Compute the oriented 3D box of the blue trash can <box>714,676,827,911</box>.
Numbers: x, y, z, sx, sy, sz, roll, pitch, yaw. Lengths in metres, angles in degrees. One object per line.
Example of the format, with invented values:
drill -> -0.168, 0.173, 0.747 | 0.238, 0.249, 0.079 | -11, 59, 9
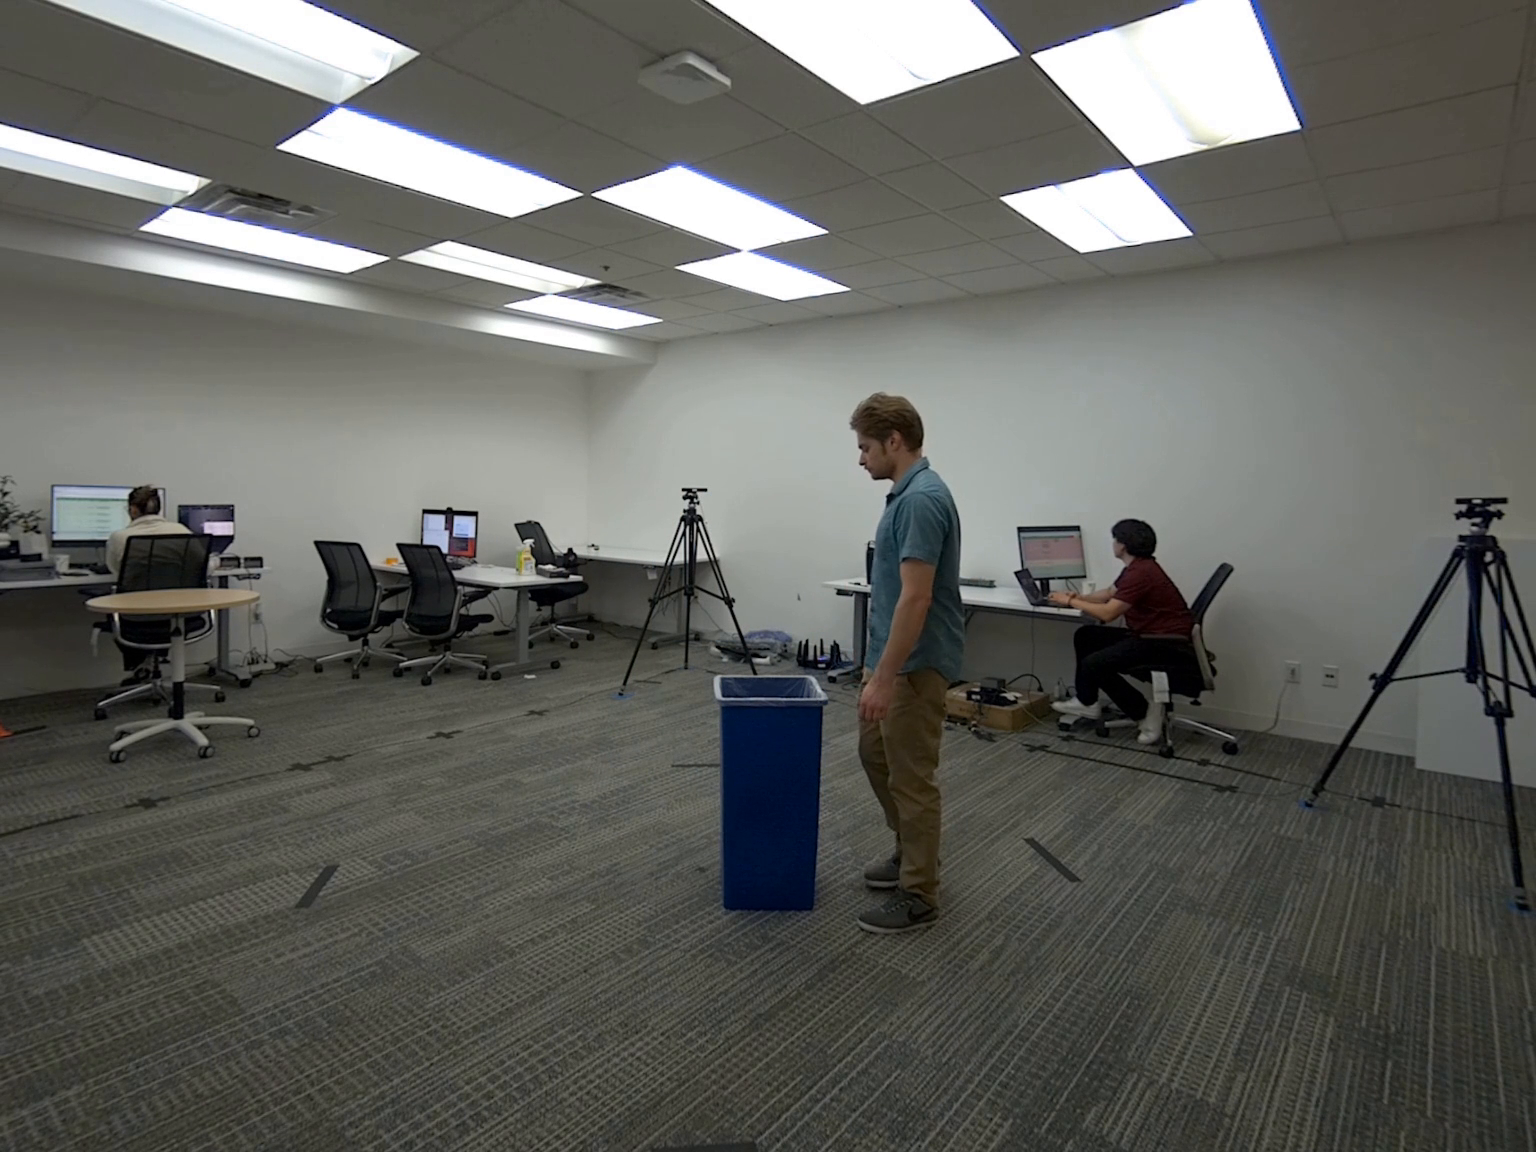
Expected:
blue trash can -> -0.012, 0.735, 2.953 | 0.377, 0.711, 0.377 | 0, 4, -4
